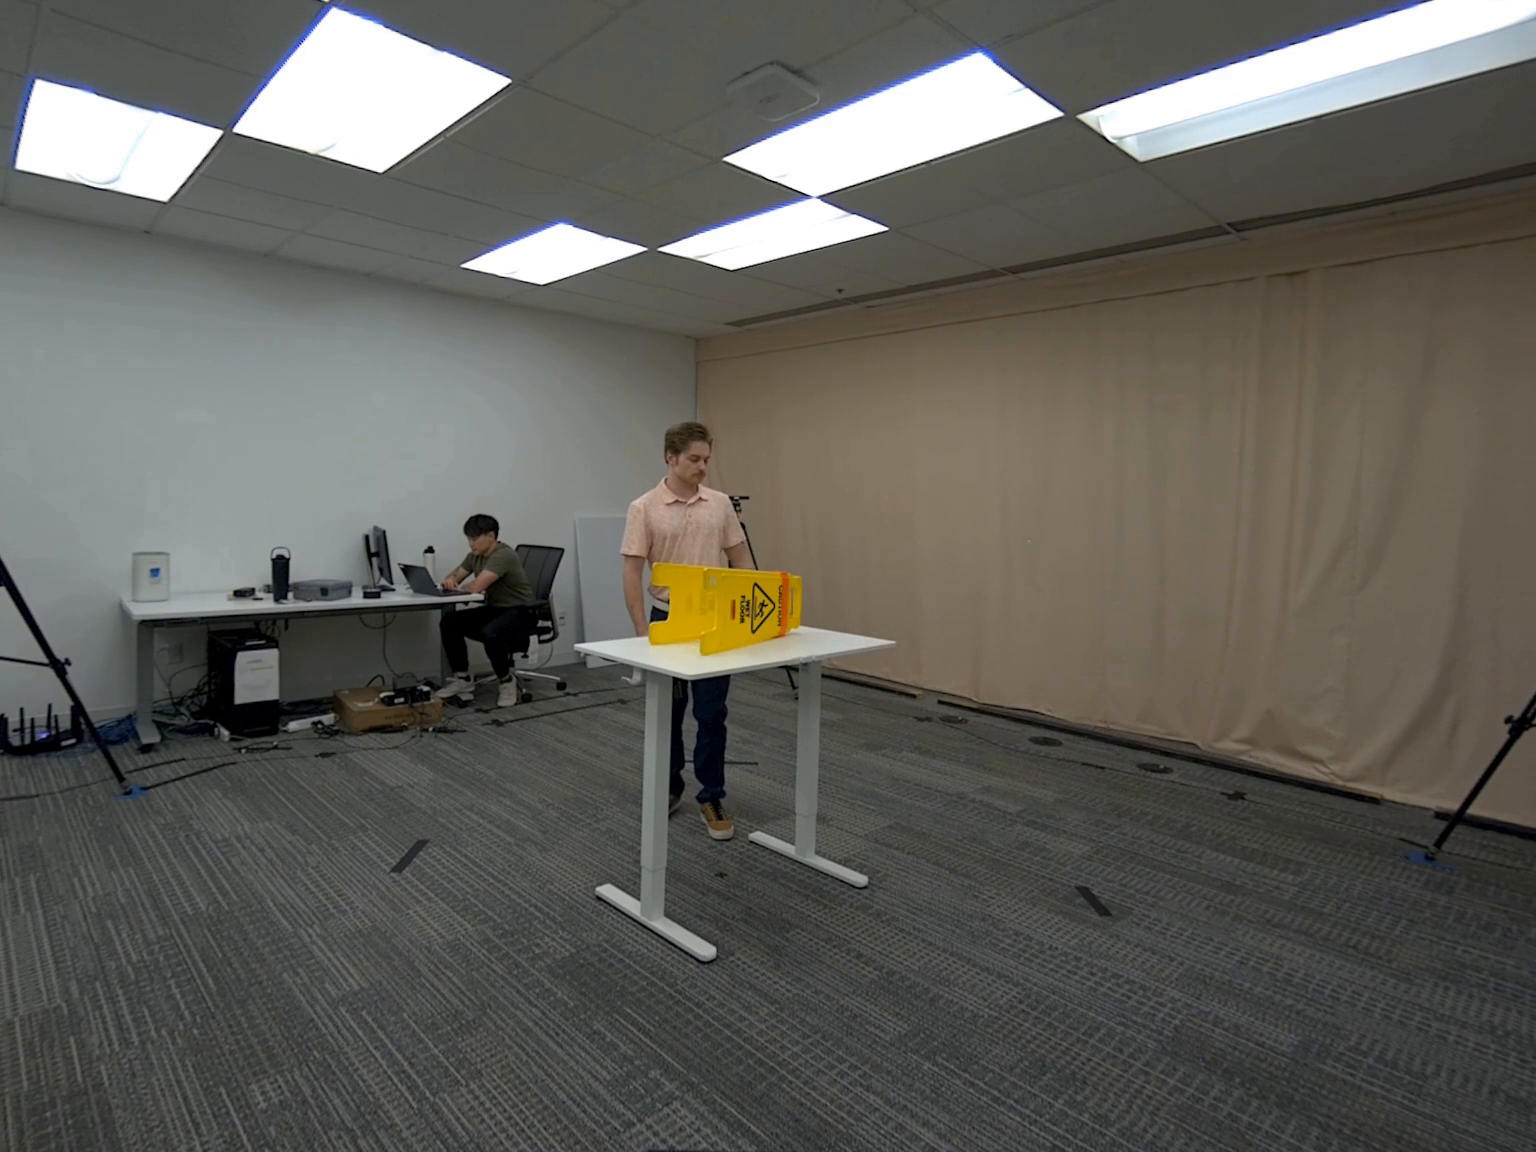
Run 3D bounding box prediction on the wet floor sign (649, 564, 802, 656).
[{"bbox_3d":[-0.097,0.105,2.996,0.297,0.282,0.630,6,4,44],"label":"wet floor sign"}]
